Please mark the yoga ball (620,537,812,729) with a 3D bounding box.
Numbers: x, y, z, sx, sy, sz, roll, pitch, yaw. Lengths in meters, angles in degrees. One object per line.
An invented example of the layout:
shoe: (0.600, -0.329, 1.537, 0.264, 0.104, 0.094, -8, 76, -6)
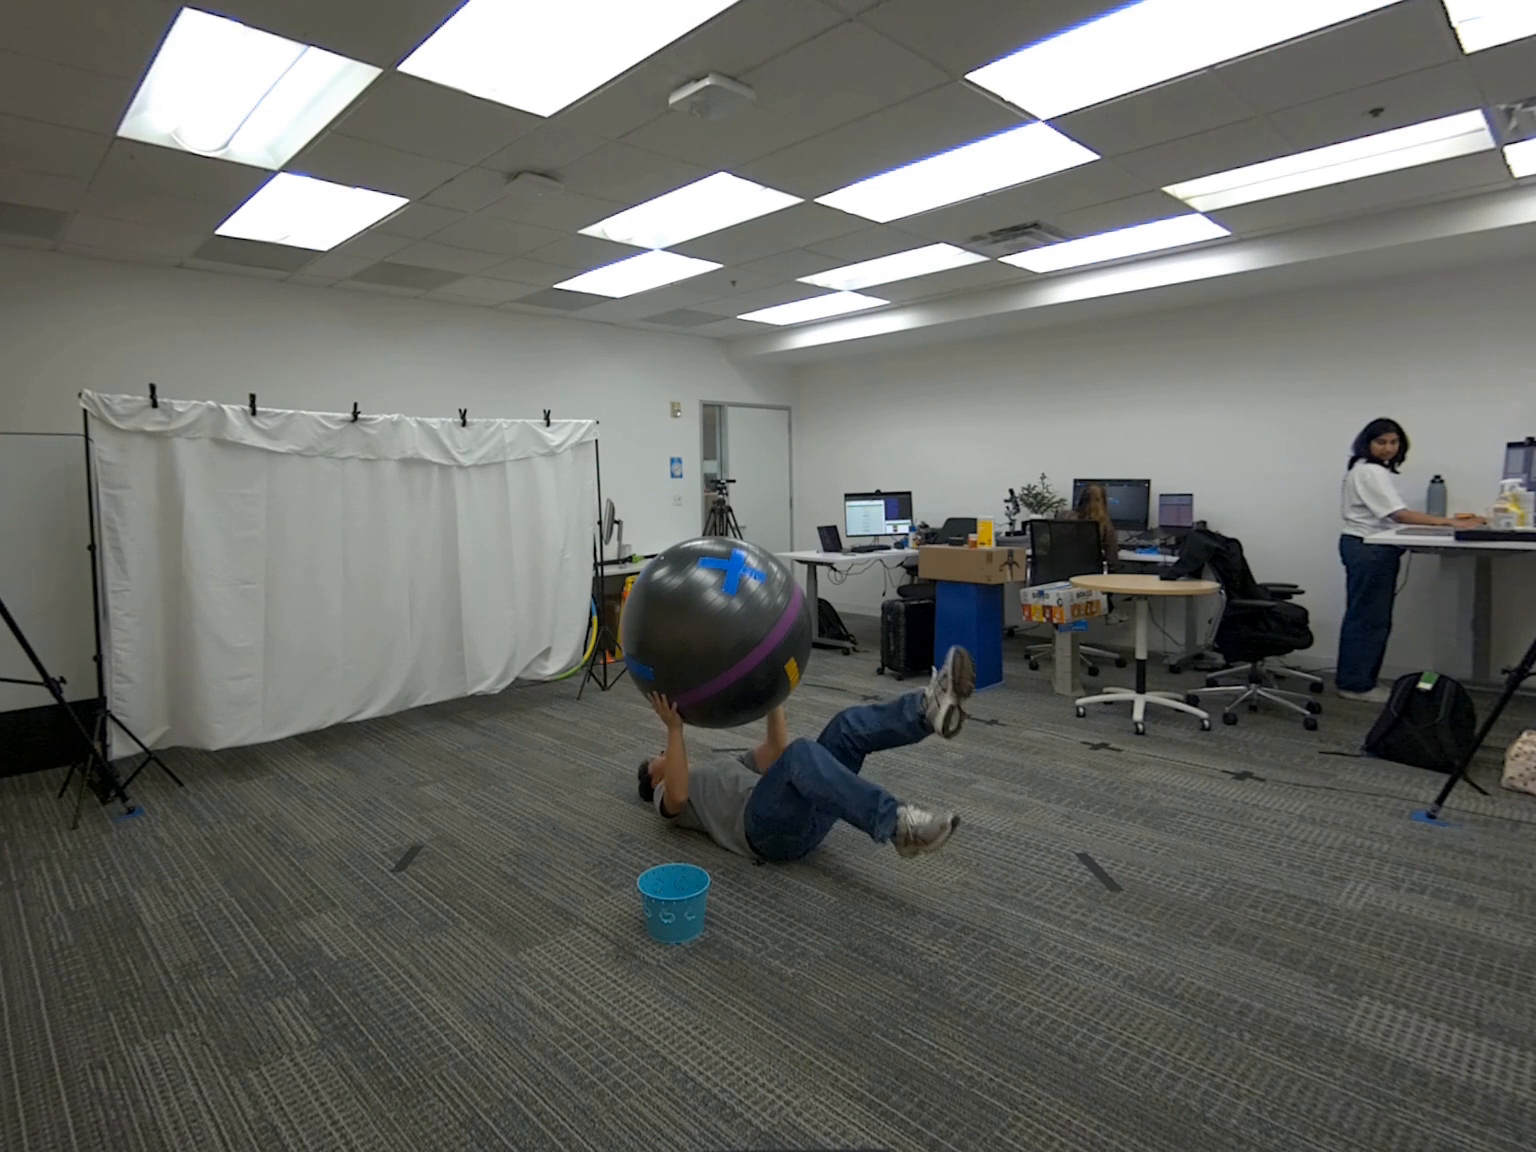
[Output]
yoga ball: (-0.210, 0.229, 3.390, 0.757, 0.755, 0.762, -1, 5, -2)
